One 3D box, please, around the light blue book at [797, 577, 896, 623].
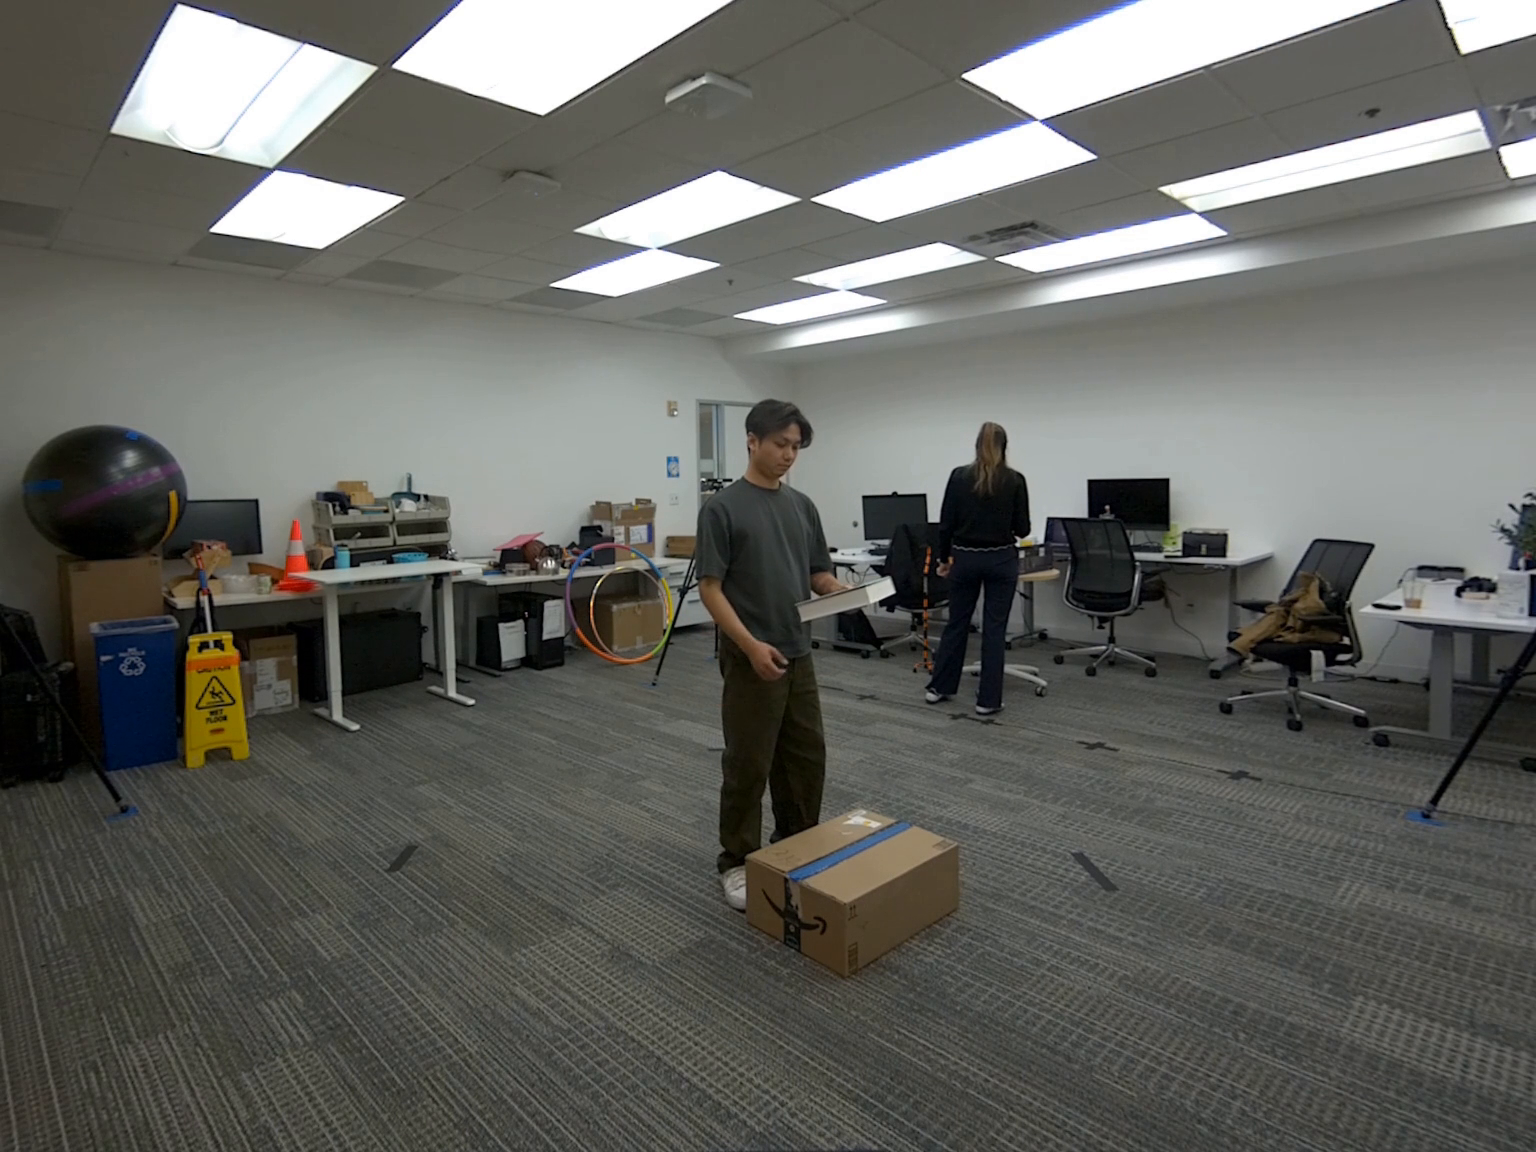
[{"bbox_3d":[0.240,0.075,2.720,0.266,0.059,0.187,-16,0,33],"label":"light blue book"}]
